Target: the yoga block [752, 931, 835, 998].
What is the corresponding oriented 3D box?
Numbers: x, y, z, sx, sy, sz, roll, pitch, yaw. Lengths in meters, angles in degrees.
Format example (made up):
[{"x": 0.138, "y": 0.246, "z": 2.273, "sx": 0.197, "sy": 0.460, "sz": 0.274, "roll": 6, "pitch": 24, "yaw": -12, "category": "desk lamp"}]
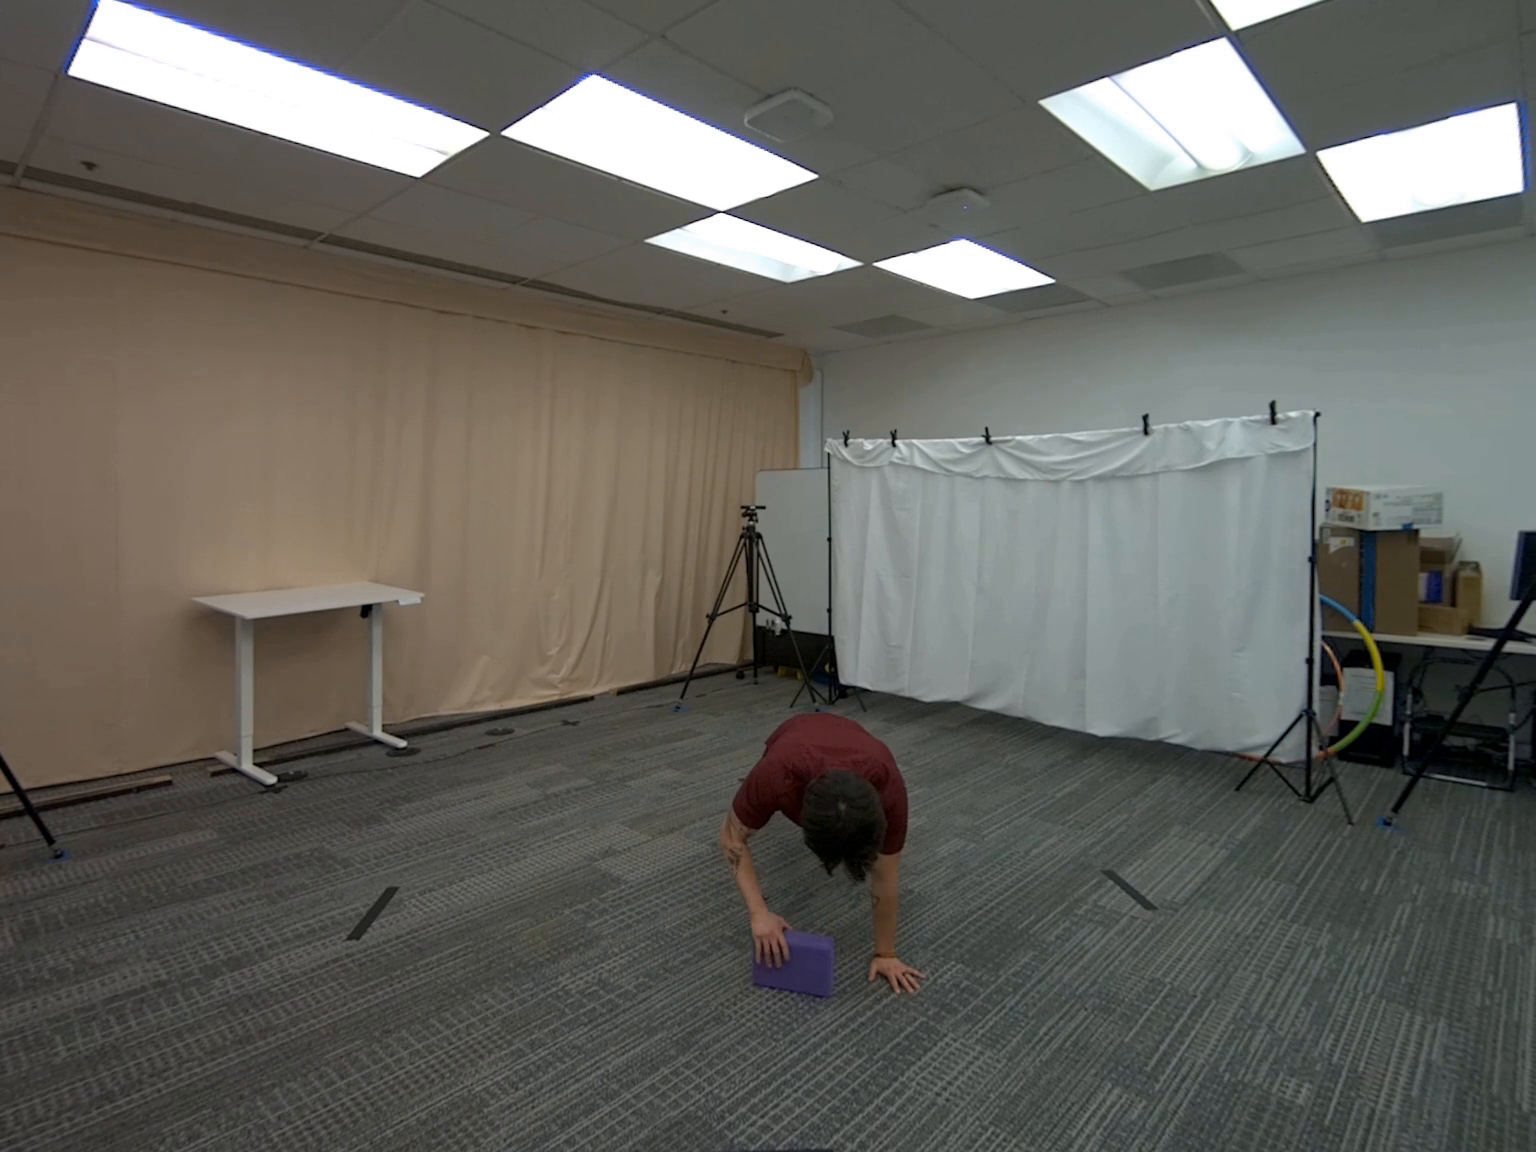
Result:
[{"x": 0.076, "y": 1.102, "z": 2.445, "sx": 0.234, "sy": 0.148, "sz": 0.075, "roll": 2, "pitch": 6, "yaw": 19, "category": "yoga block"}]
